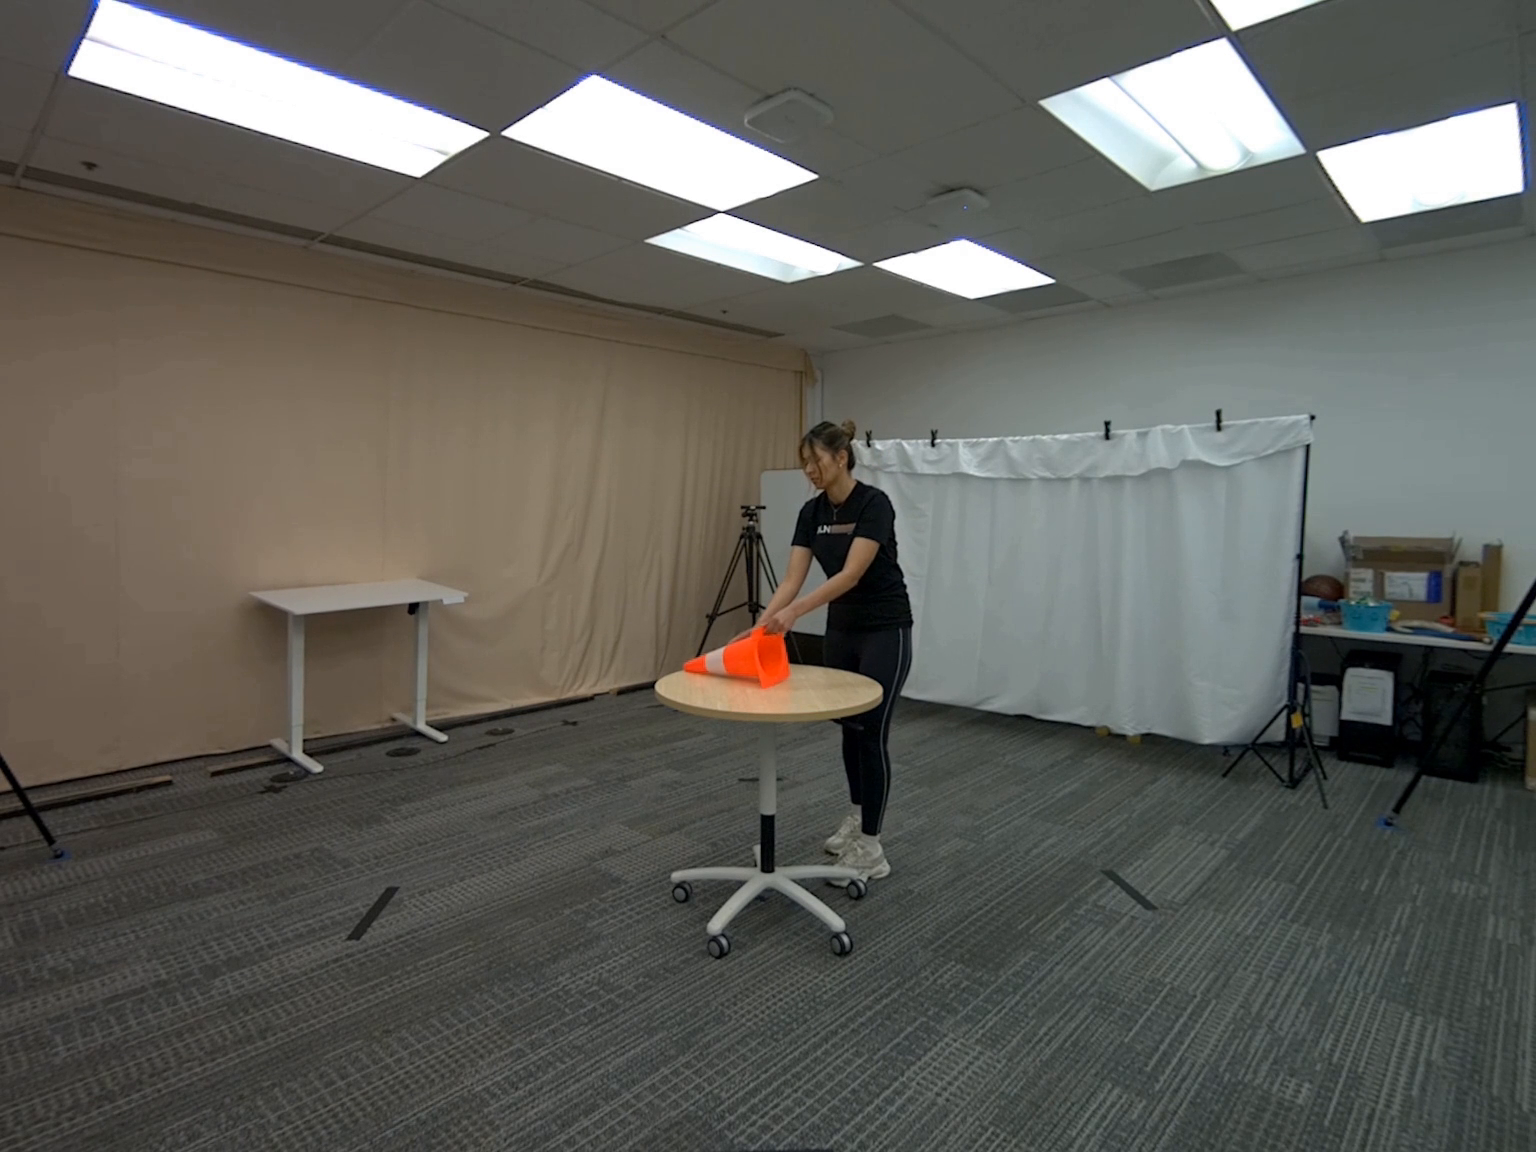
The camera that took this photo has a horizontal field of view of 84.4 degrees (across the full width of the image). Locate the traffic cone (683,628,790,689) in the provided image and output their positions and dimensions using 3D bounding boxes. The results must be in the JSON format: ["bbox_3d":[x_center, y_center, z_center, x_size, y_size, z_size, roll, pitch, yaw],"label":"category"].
[{"bbox_3d":[-0.140,0.299,2.982,0.393,0.204,0.199,-11,-2,33],"label":"traffic cone"}]
